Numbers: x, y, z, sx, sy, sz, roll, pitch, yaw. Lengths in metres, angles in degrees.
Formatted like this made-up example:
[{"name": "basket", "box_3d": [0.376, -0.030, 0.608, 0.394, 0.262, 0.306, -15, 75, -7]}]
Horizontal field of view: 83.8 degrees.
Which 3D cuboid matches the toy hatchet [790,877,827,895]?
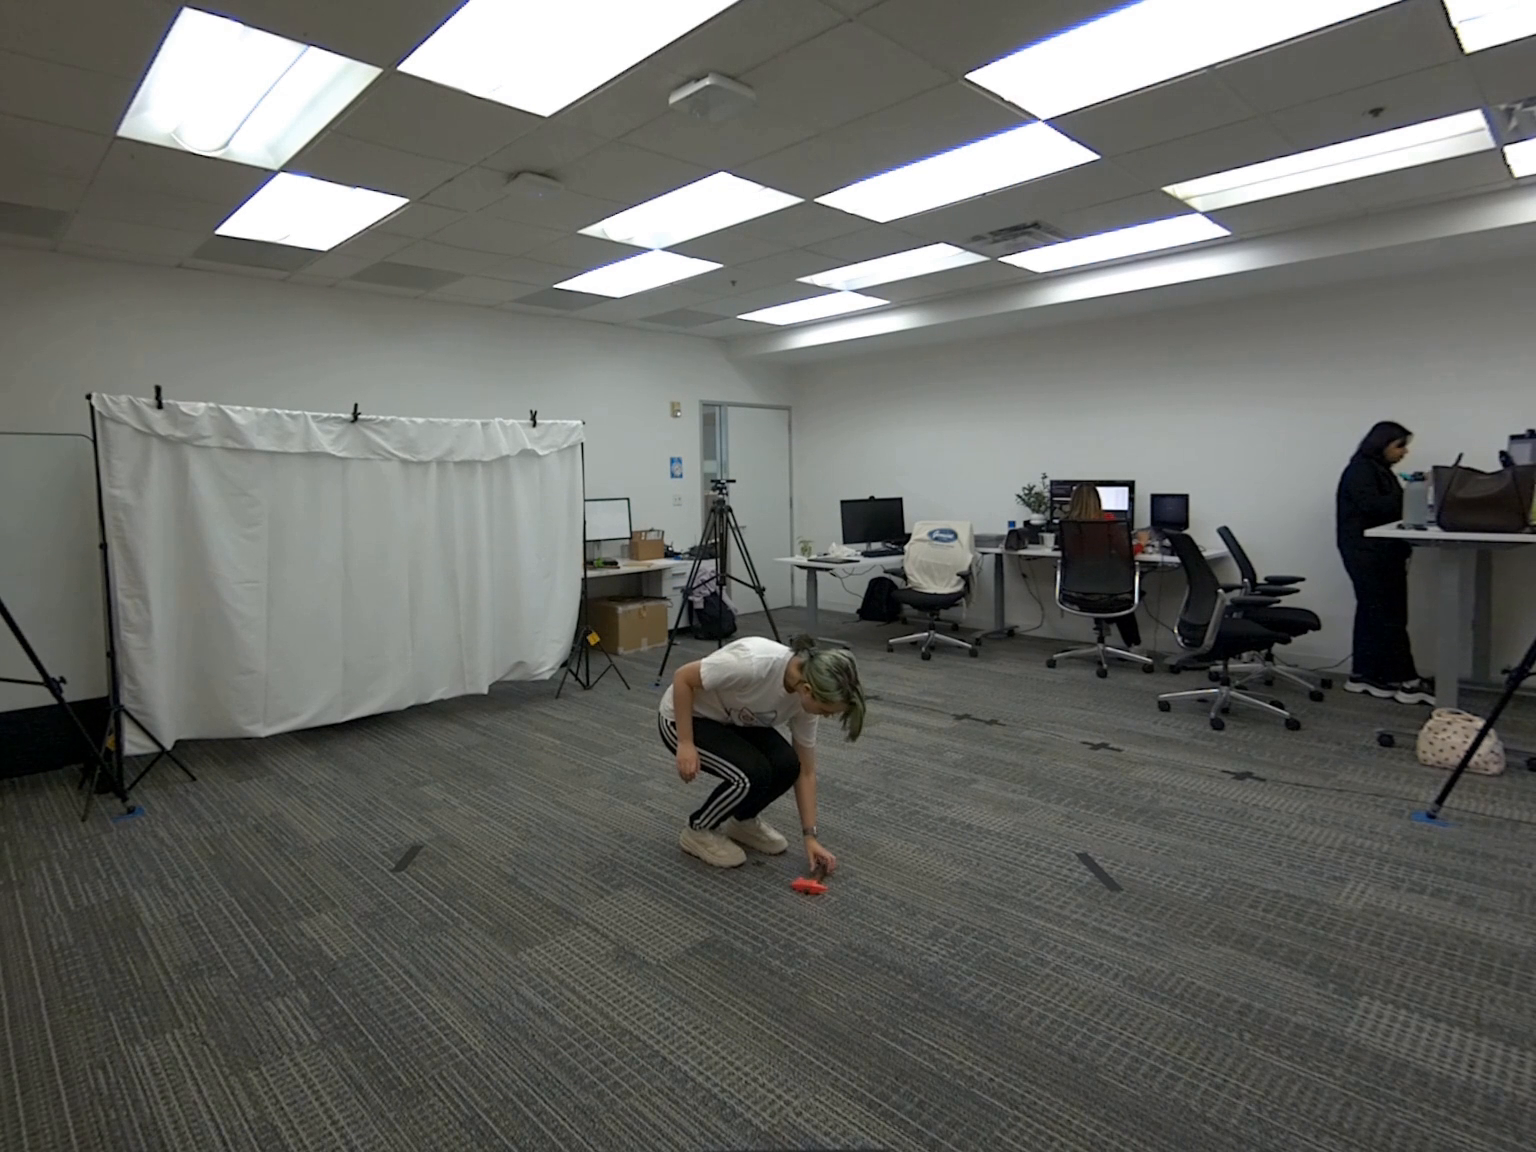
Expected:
[{"name": "toy hatchet", "box_3d": [0.148, 1.050, 2.996, 0.132, 0.029, 0.268, -4, 3, 6]}]
